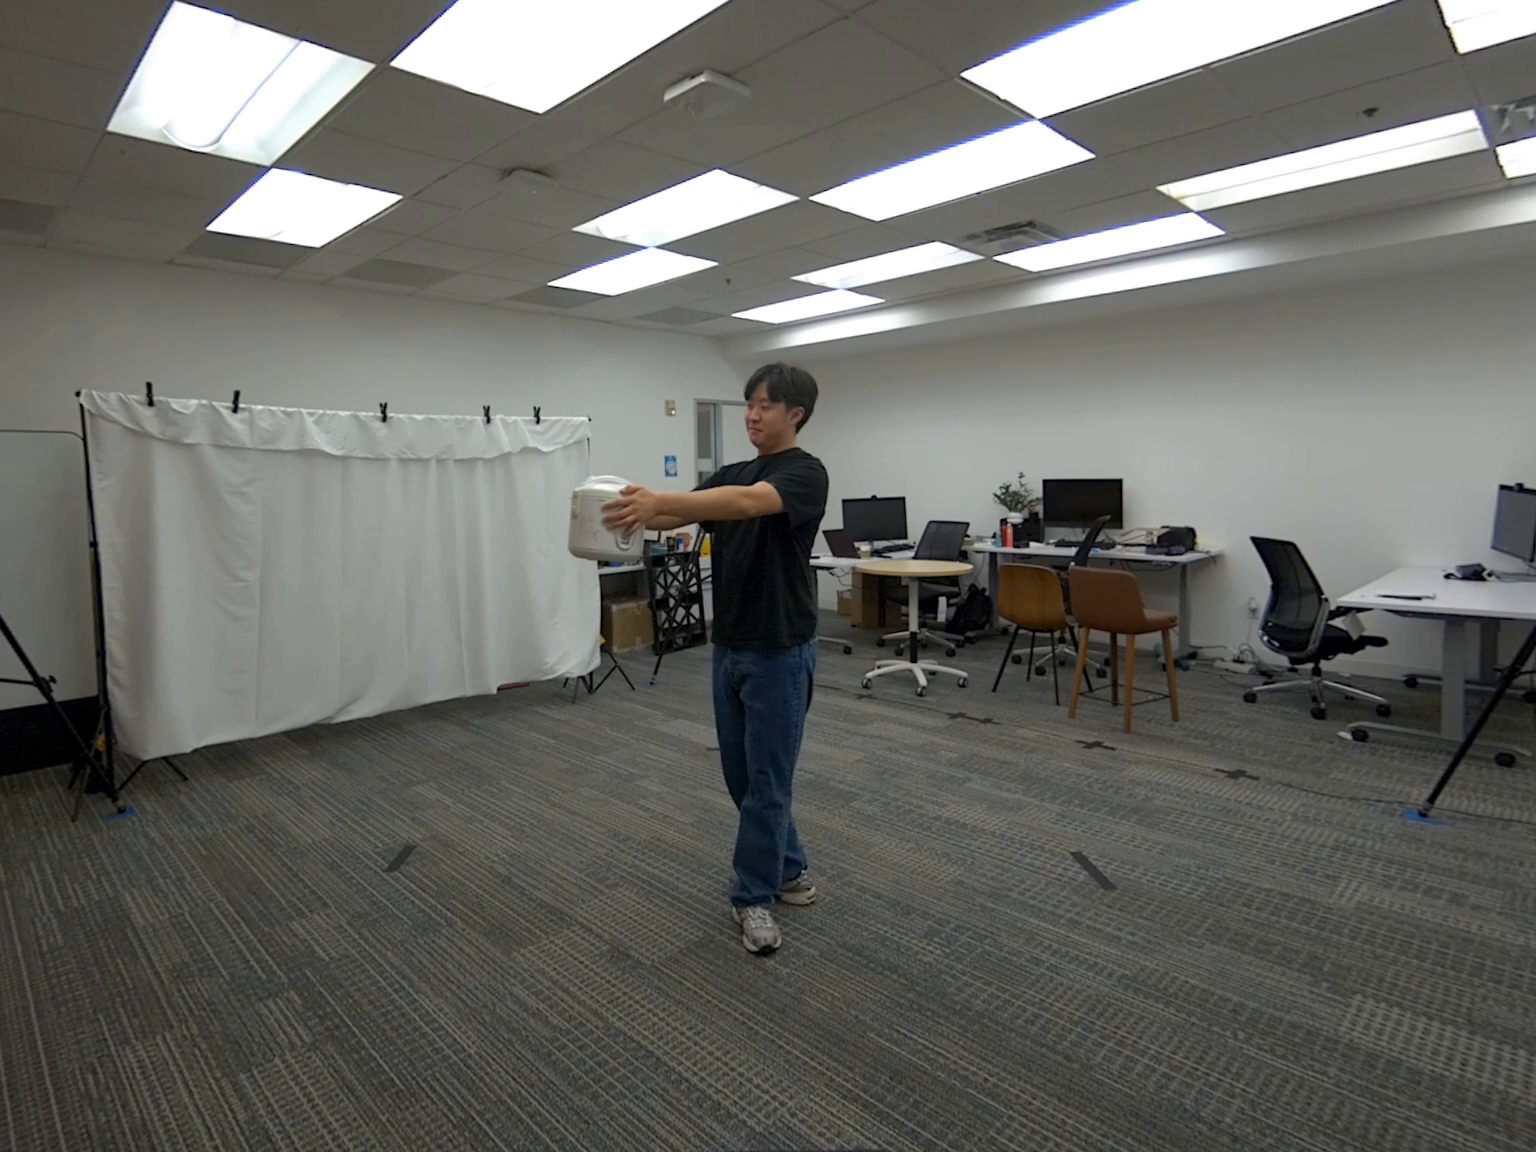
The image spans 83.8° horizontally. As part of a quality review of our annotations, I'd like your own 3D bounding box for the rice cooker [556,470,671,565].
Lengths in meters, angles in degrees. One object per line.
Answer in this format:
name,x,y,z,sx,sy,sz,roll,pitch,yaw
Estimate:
rice cooker,-0.426,-0.161,2.348,0.214,0.233,0.224,3,1,-36
